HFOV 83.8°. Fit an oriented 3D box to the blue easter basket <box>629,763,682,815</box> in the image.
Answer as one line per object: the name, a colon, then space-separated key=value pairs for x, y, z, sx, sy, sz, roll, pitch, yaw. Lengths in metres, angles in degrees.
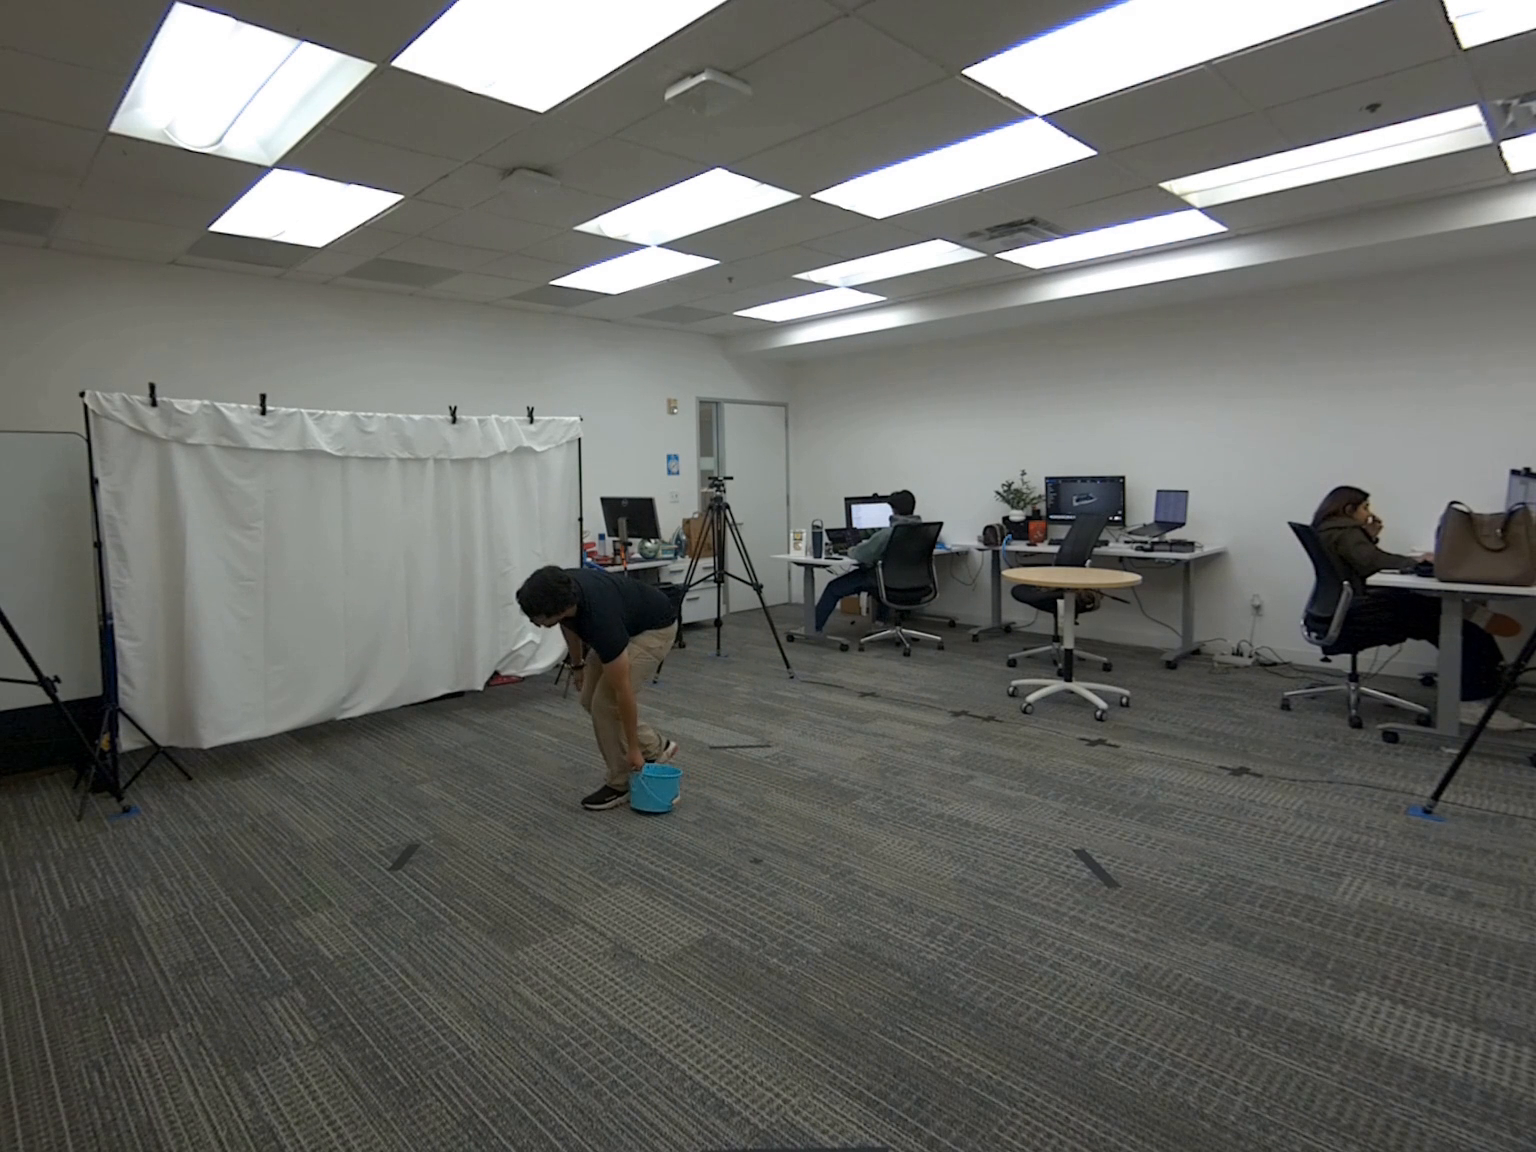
blue easter basket: x=-0.488 y=0.899 z=3.618 sx=0.243 sy=0.156 sz=0.243 roll=4 pitch=-1 yaw=-2
